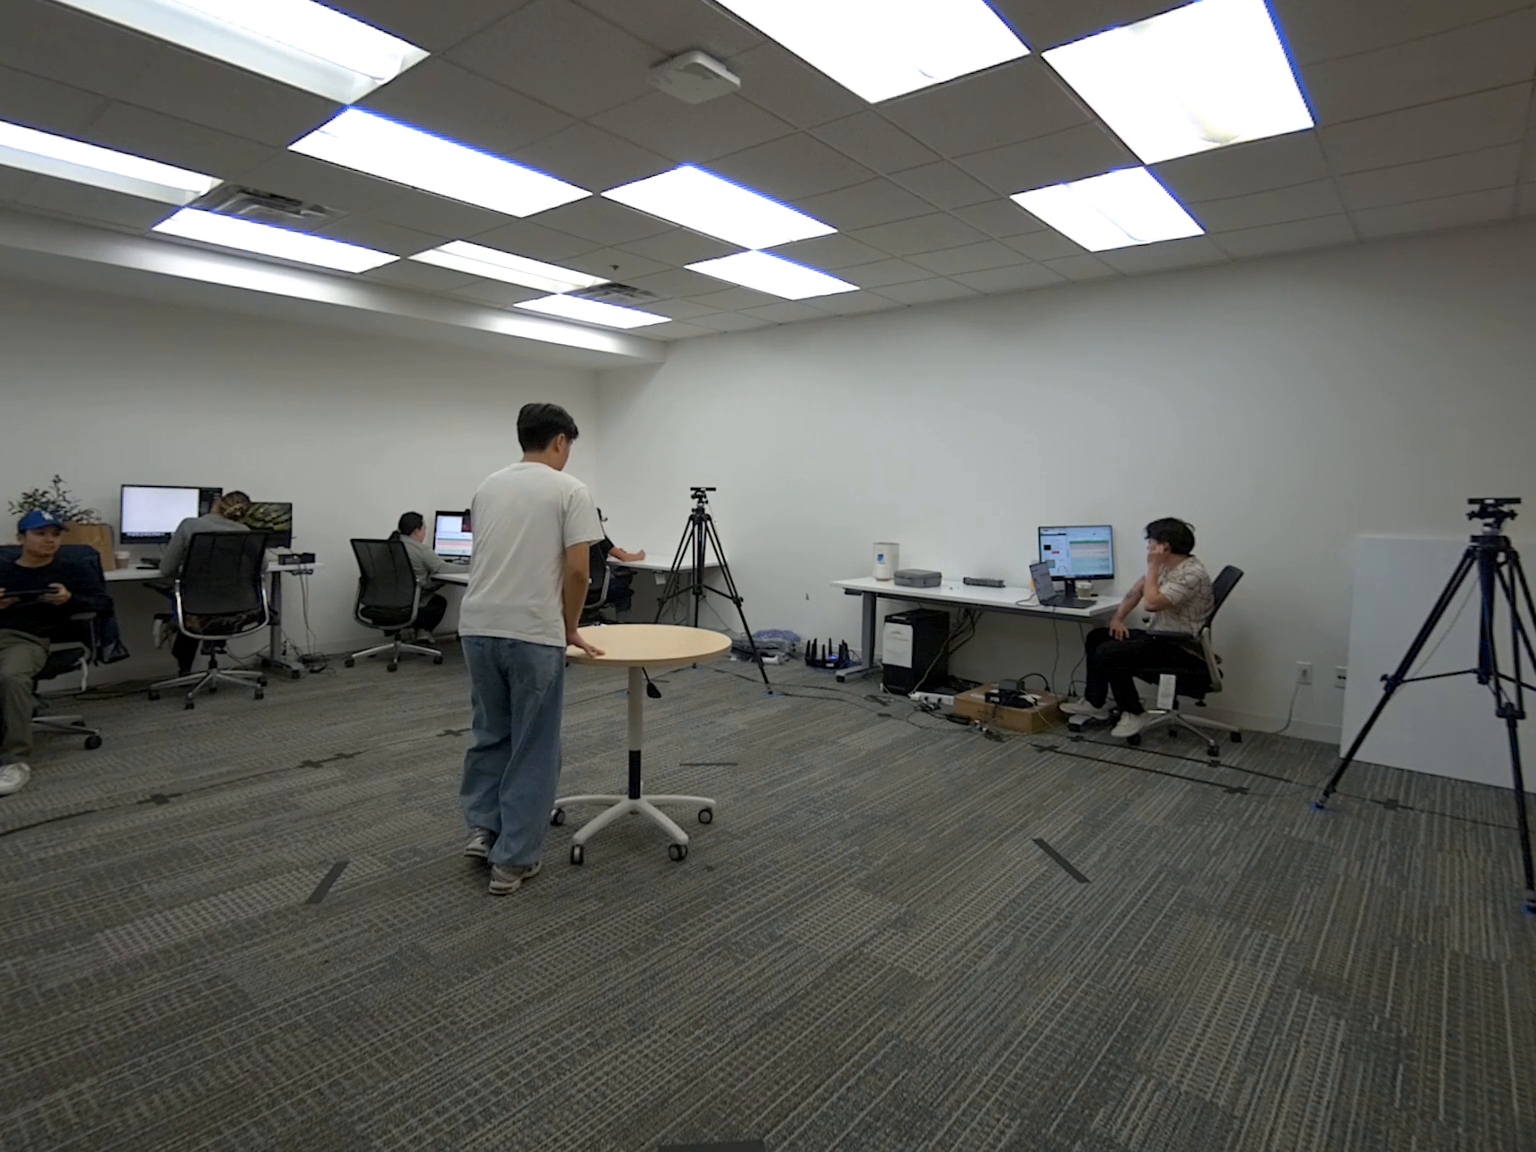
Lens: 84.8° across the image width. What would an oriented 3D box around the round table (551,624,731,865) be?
[{"bbox_3d":[-0.543,0.645,3.409,0.763,0.791,0.768,1,4,-2],"label":"round table"}]
